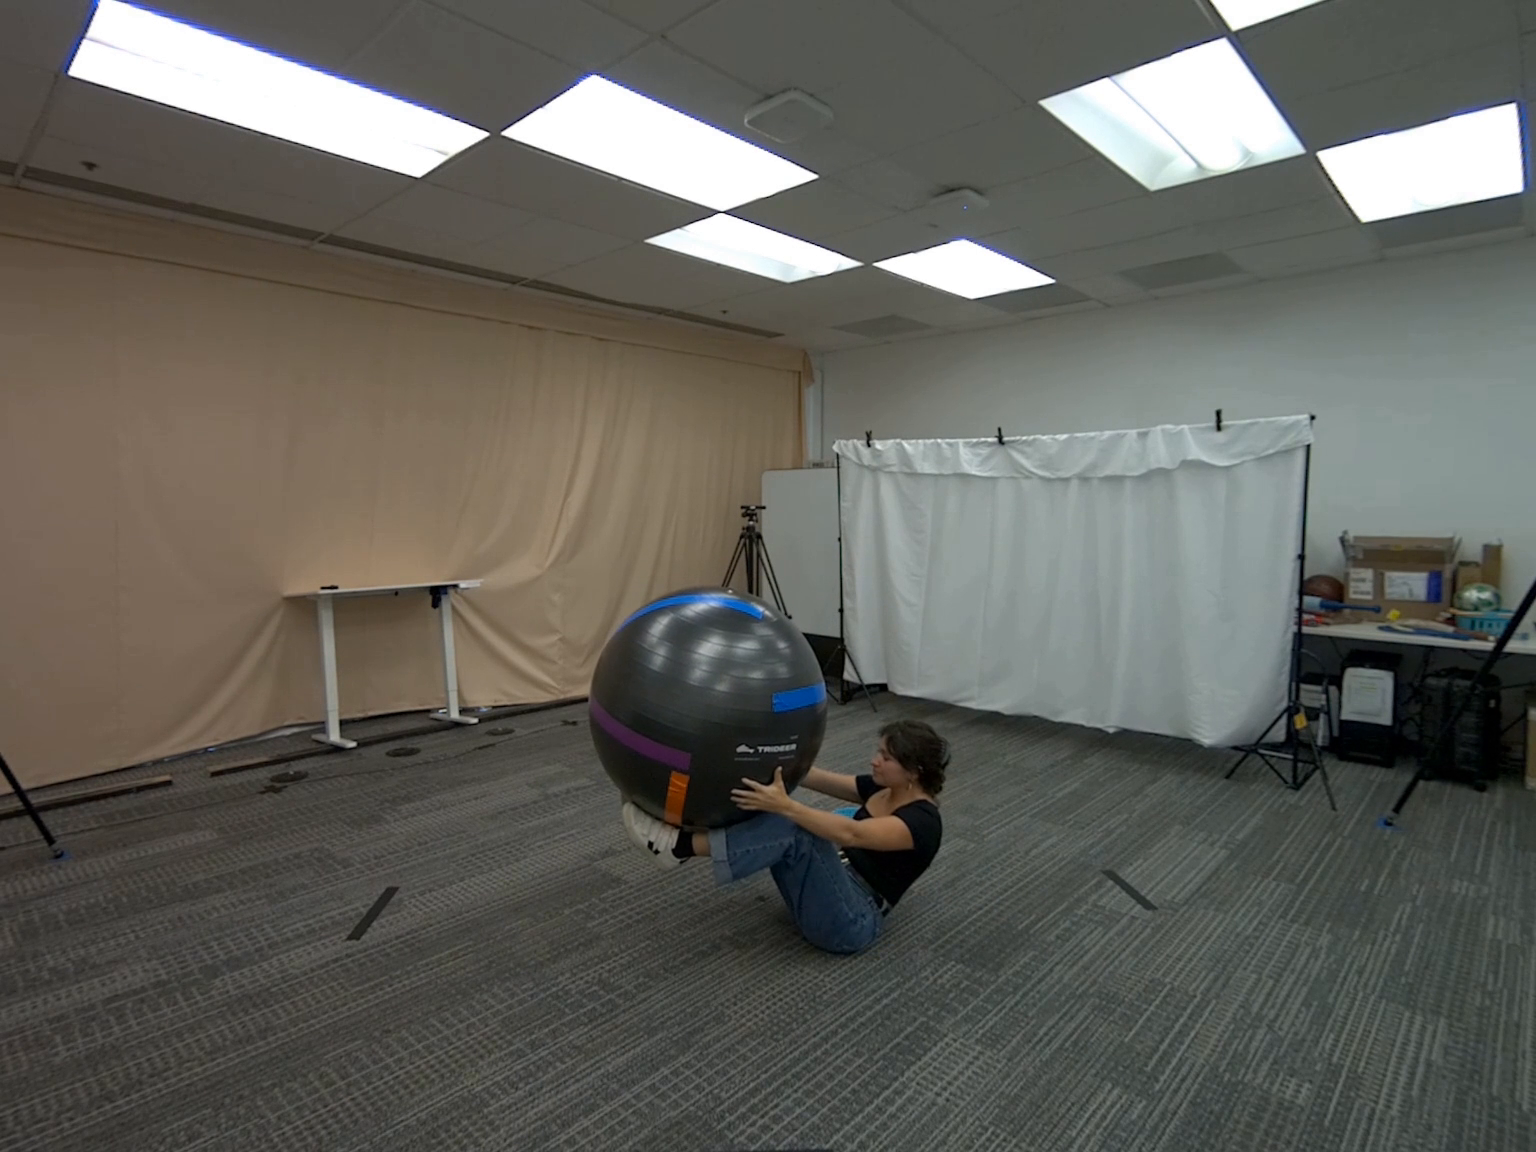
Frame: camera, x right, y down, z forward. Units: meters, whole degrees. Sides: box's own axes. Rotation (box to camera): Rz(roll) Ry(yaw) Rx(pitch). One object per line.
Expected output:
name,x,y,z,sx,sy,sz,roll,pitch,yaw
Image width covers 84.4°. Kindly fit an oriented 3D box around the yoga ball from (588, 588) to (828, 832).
yoga ball,-0.180,0.414,2.685,0.757,0.756,0.761,0,4,-2
